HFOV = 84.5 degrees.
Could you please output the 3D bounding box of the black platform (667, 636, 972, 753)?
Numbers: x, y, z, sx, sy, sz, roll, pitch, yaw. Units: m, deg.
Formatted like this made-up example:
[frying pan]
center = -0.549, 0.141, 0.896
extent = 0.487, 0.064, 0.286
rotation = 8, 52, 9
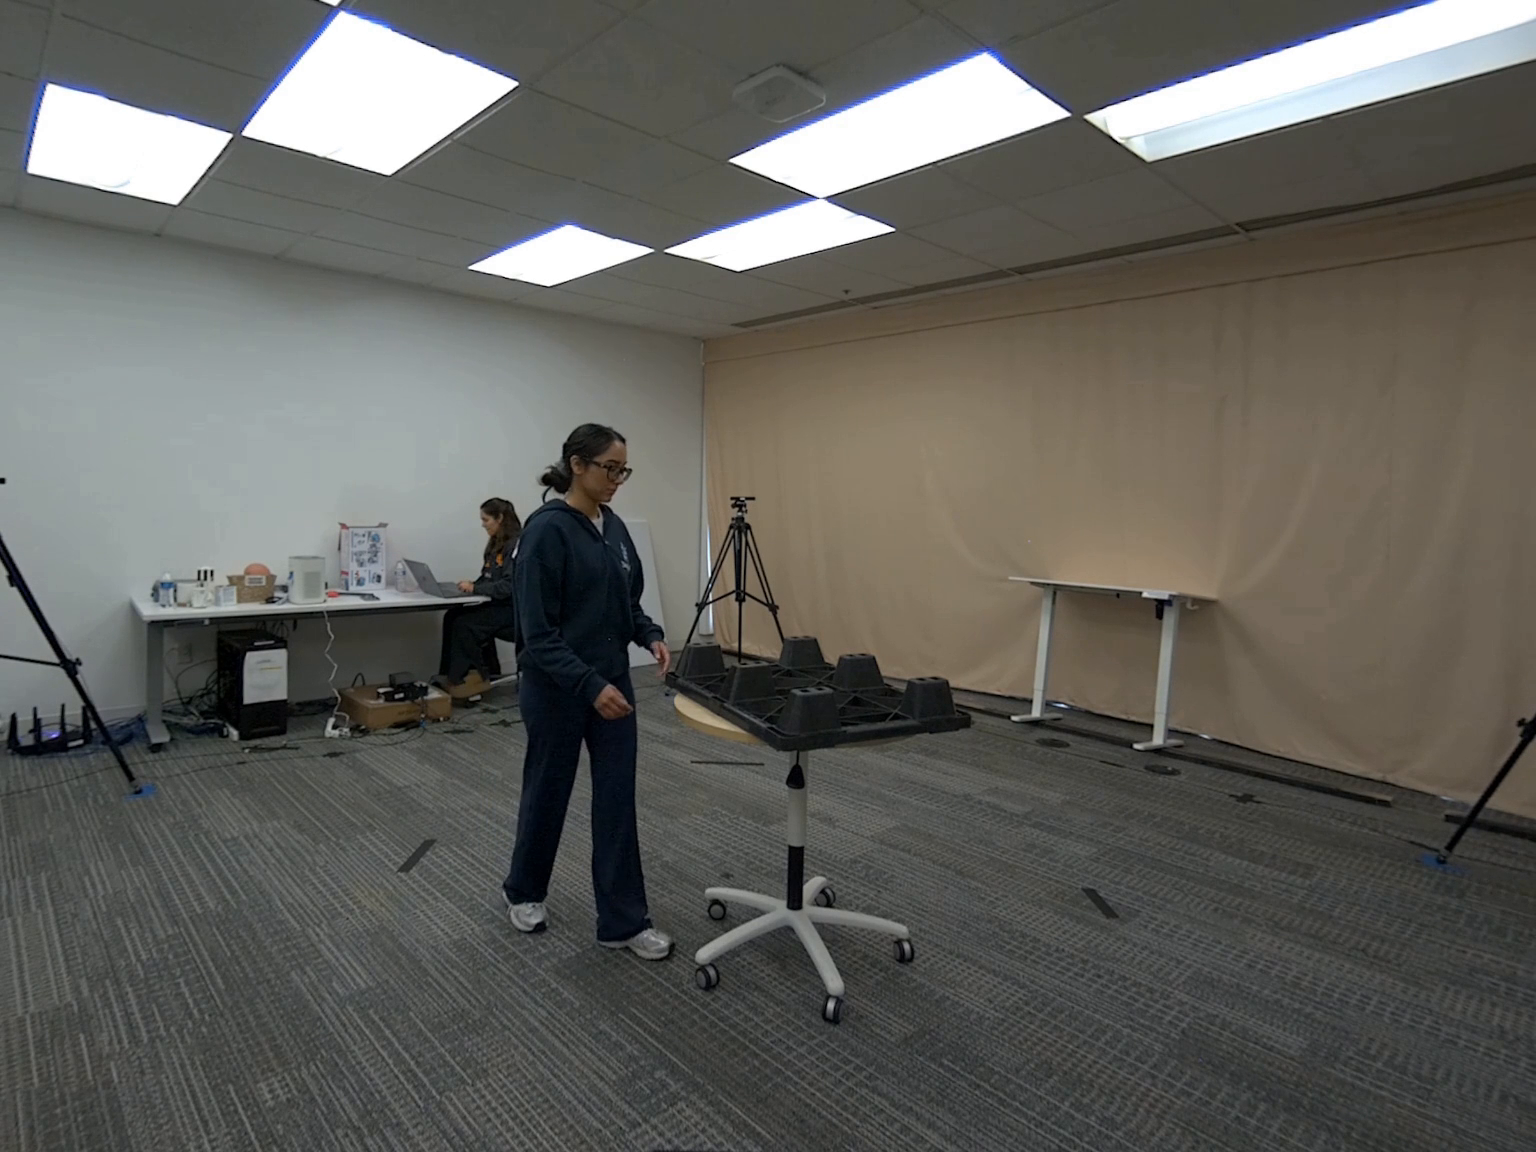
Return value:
[black platform]
center = 0.119, 0.321, 2.521
extent = 0.594, 0.143, 0.823
rotation = -2, 7, -28
